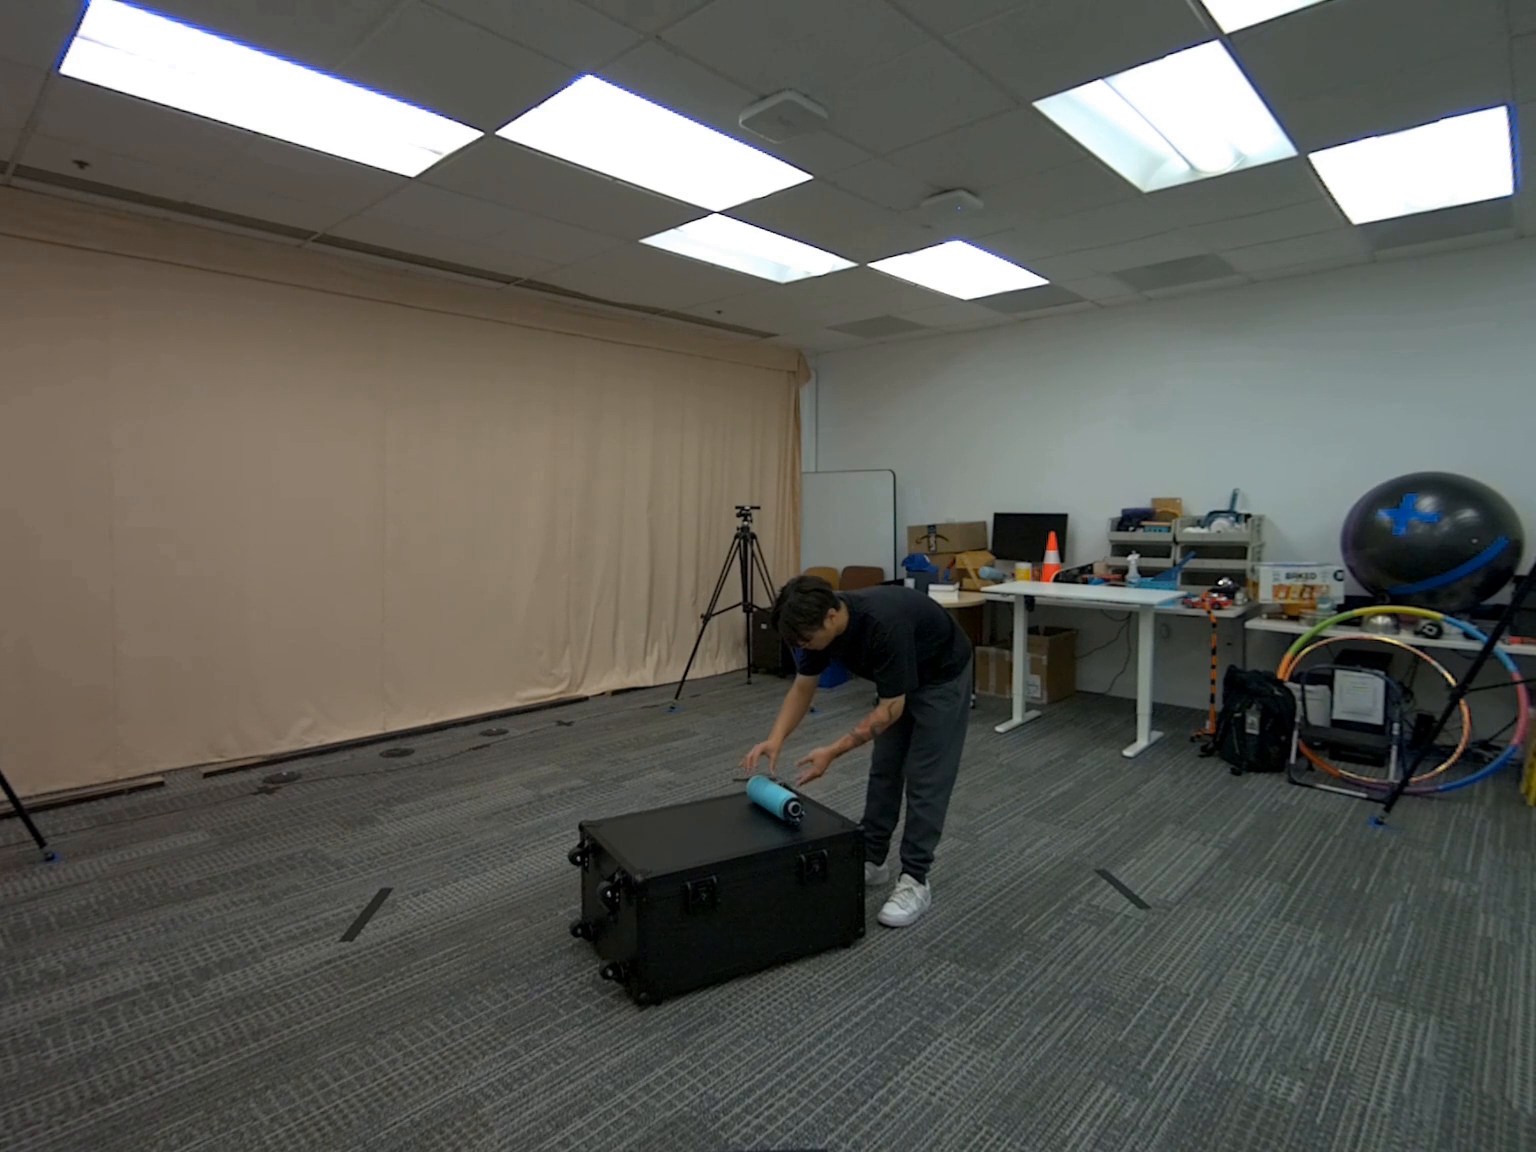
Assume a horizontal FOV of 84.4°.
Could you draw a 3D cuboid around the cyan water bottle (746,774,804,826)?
[{"bbox_3d":[0.033,0.735,2.777,0.090,0.092,0.291,-2,5,-27],"label":"cyan water bottle"}]
